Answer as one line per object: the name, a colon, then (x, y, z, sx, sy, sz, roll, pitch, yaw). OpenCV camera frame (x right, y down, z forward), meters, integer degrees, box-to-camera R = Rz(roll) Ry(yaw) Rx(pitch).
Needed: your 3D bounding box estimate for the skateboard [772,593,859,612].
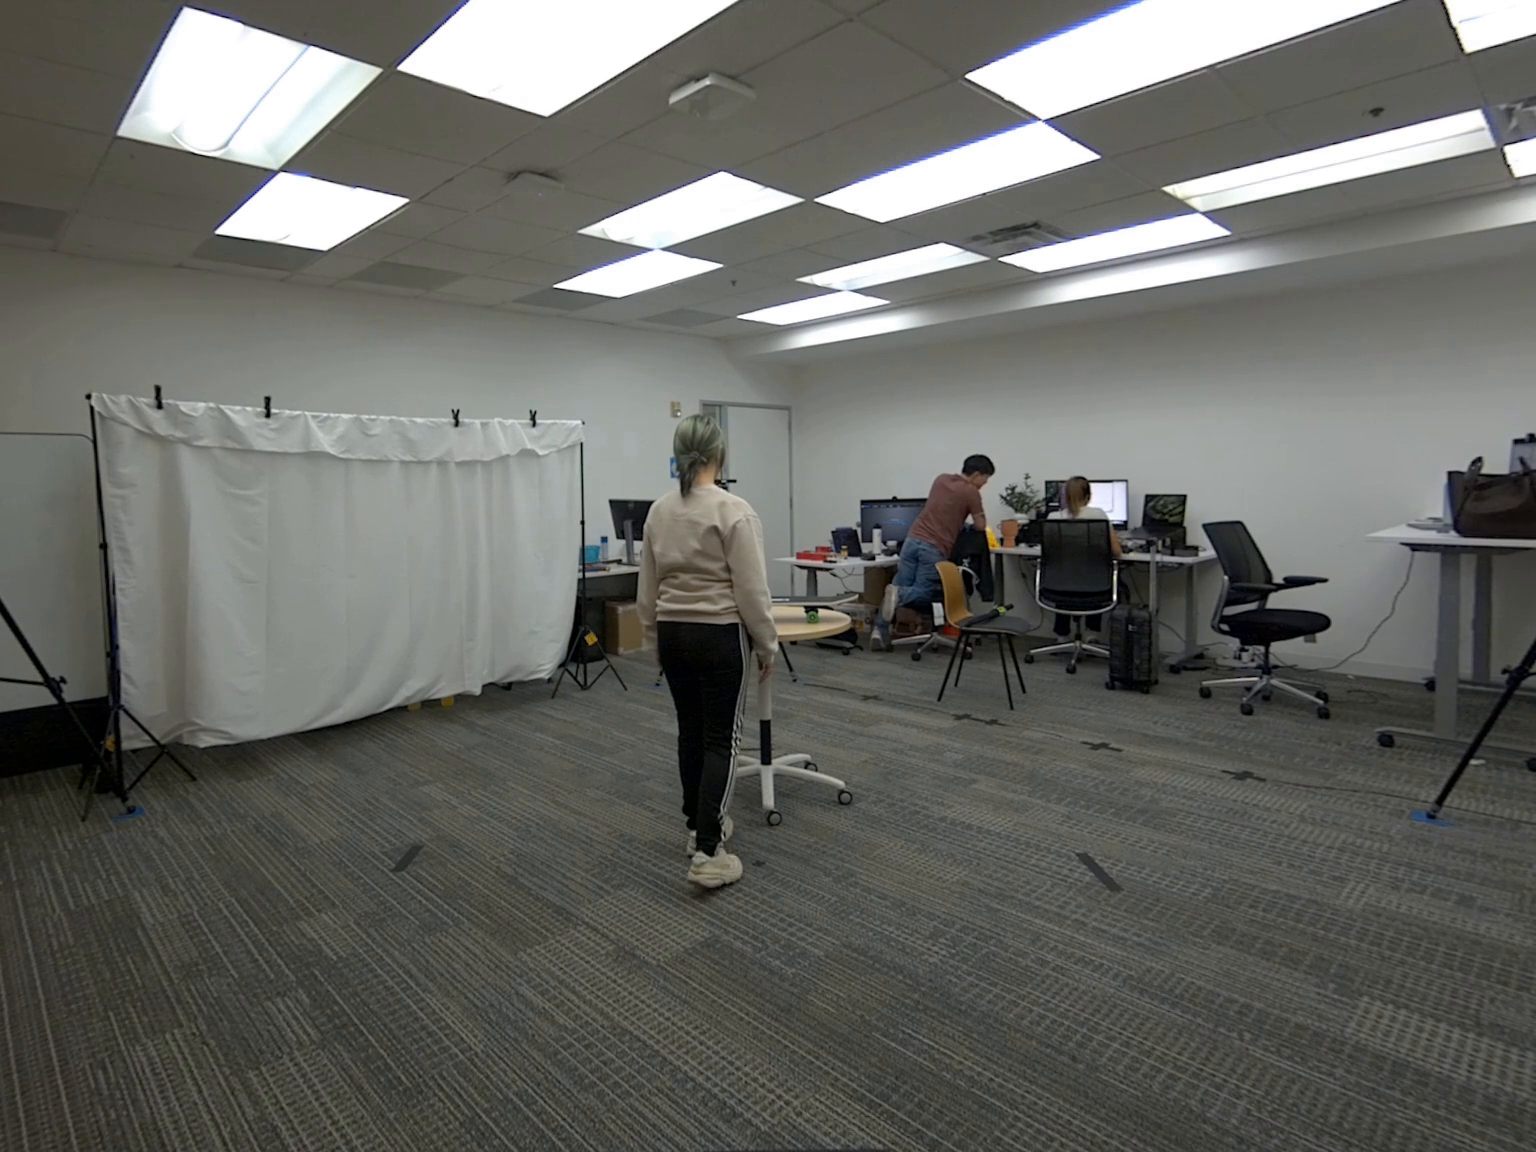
skateboard: (-0.009, 0.148, 3.726, 0.790, 0.110, 0.193, -1, 6, 6)
